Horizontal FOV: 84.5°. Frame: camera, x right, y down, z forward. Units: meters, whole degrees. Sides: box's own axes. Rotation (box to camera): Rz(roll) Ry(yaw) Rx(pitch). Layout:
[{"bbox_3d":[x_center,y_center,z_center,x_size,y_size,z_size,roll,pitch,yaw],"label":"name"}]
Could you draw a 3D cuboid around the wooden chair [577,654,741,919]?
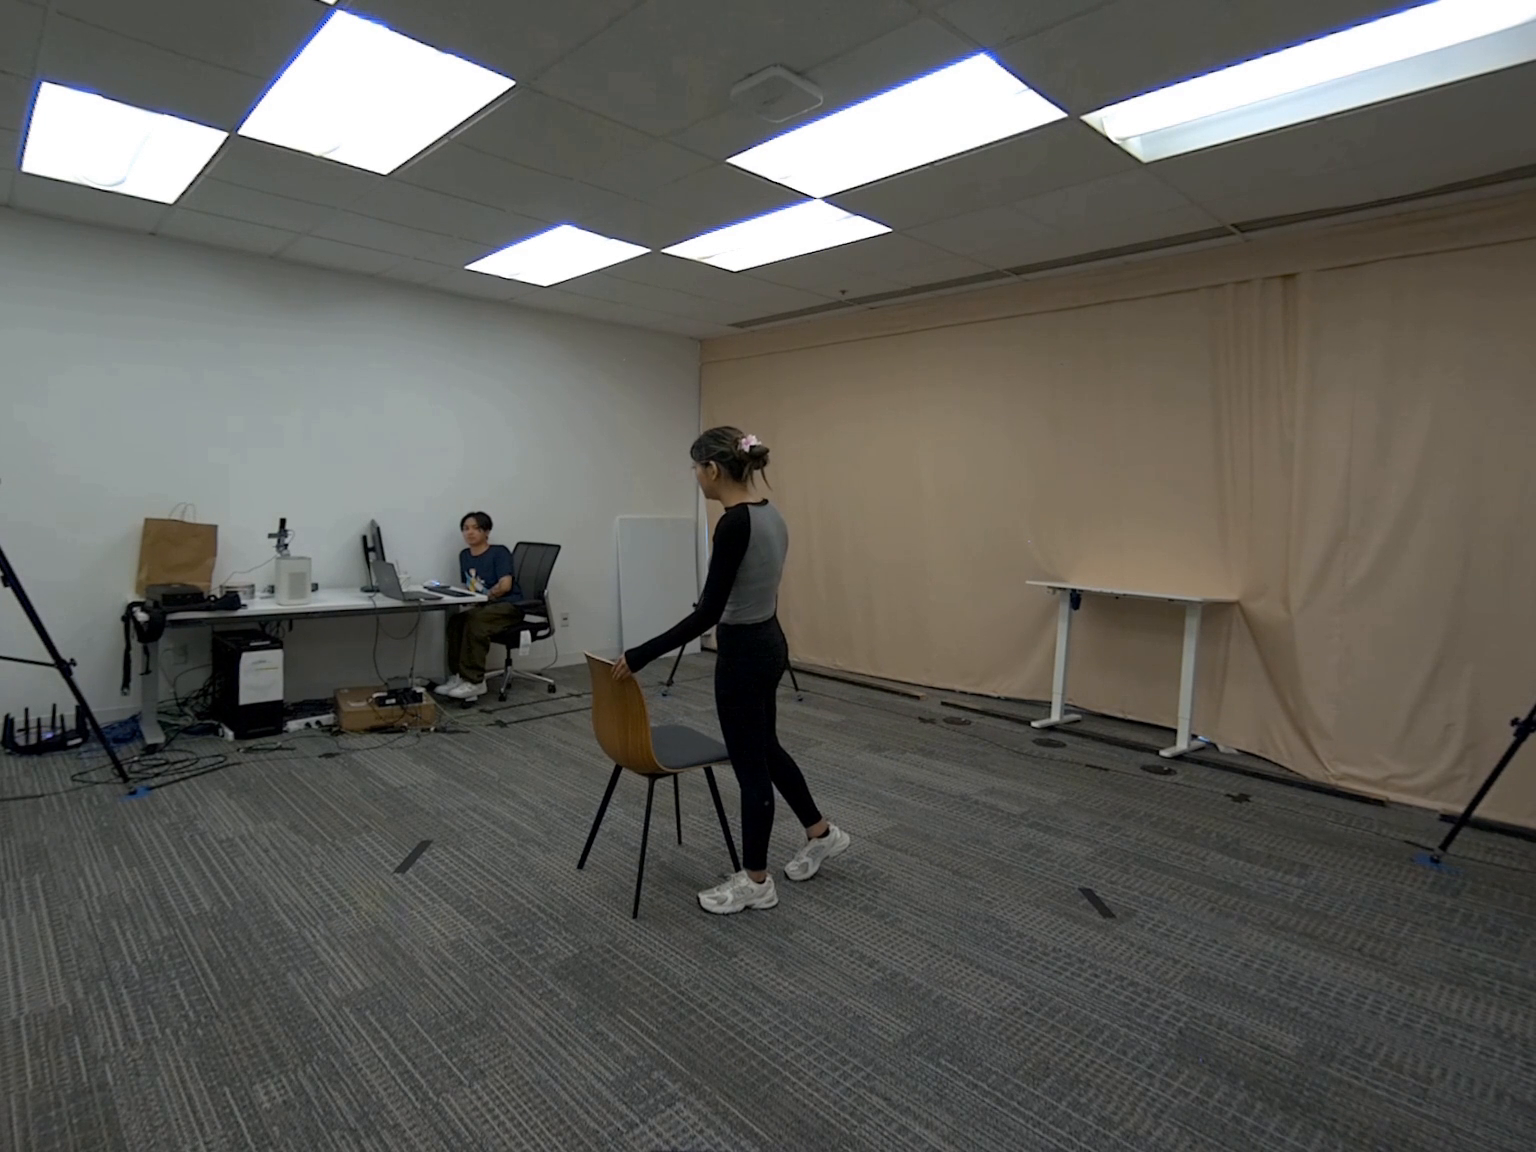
[{"bbox_3d":[-0.385,0.677,3.059,0.513,0.874,0.490,-6,7,-36],"label":"wooden chair"}]
